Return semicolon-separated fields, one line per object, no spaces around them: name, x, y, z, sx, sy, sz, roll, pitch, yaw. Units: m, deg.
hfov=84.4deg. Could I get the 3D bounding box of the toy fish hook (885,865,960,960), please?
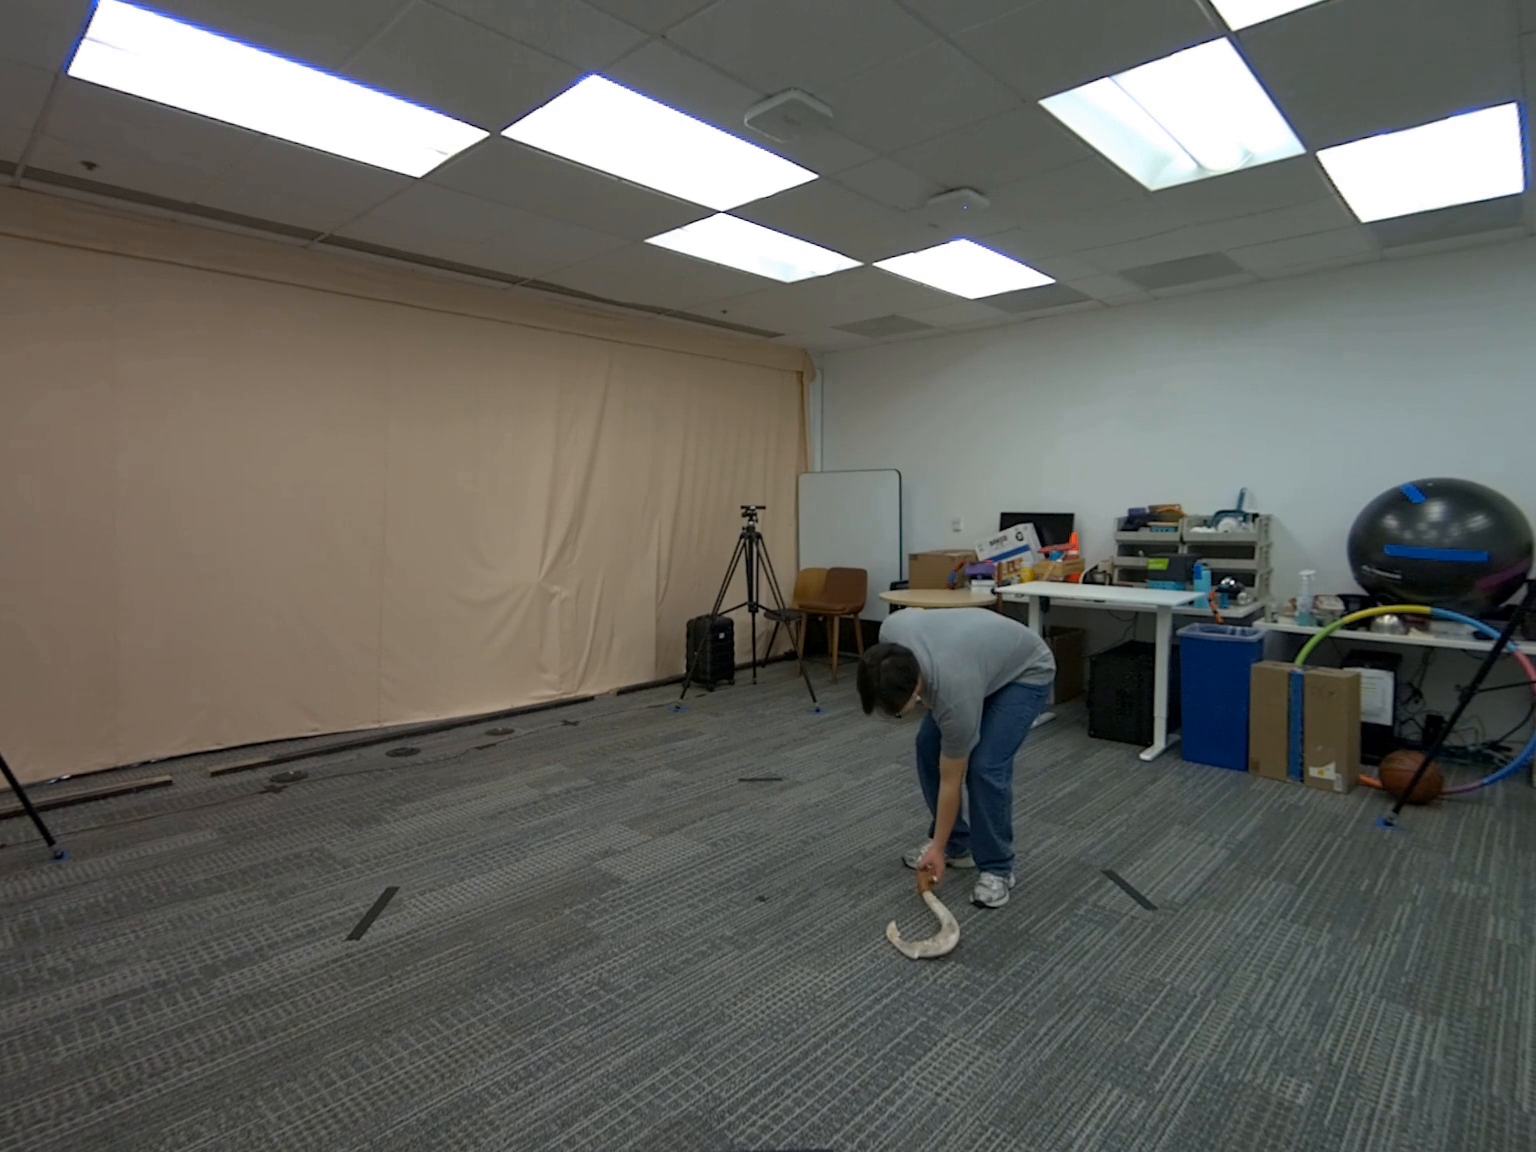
toy fish hook;0.502;1.108;2.801;0.226;0.048;0.507;-8;9;4
